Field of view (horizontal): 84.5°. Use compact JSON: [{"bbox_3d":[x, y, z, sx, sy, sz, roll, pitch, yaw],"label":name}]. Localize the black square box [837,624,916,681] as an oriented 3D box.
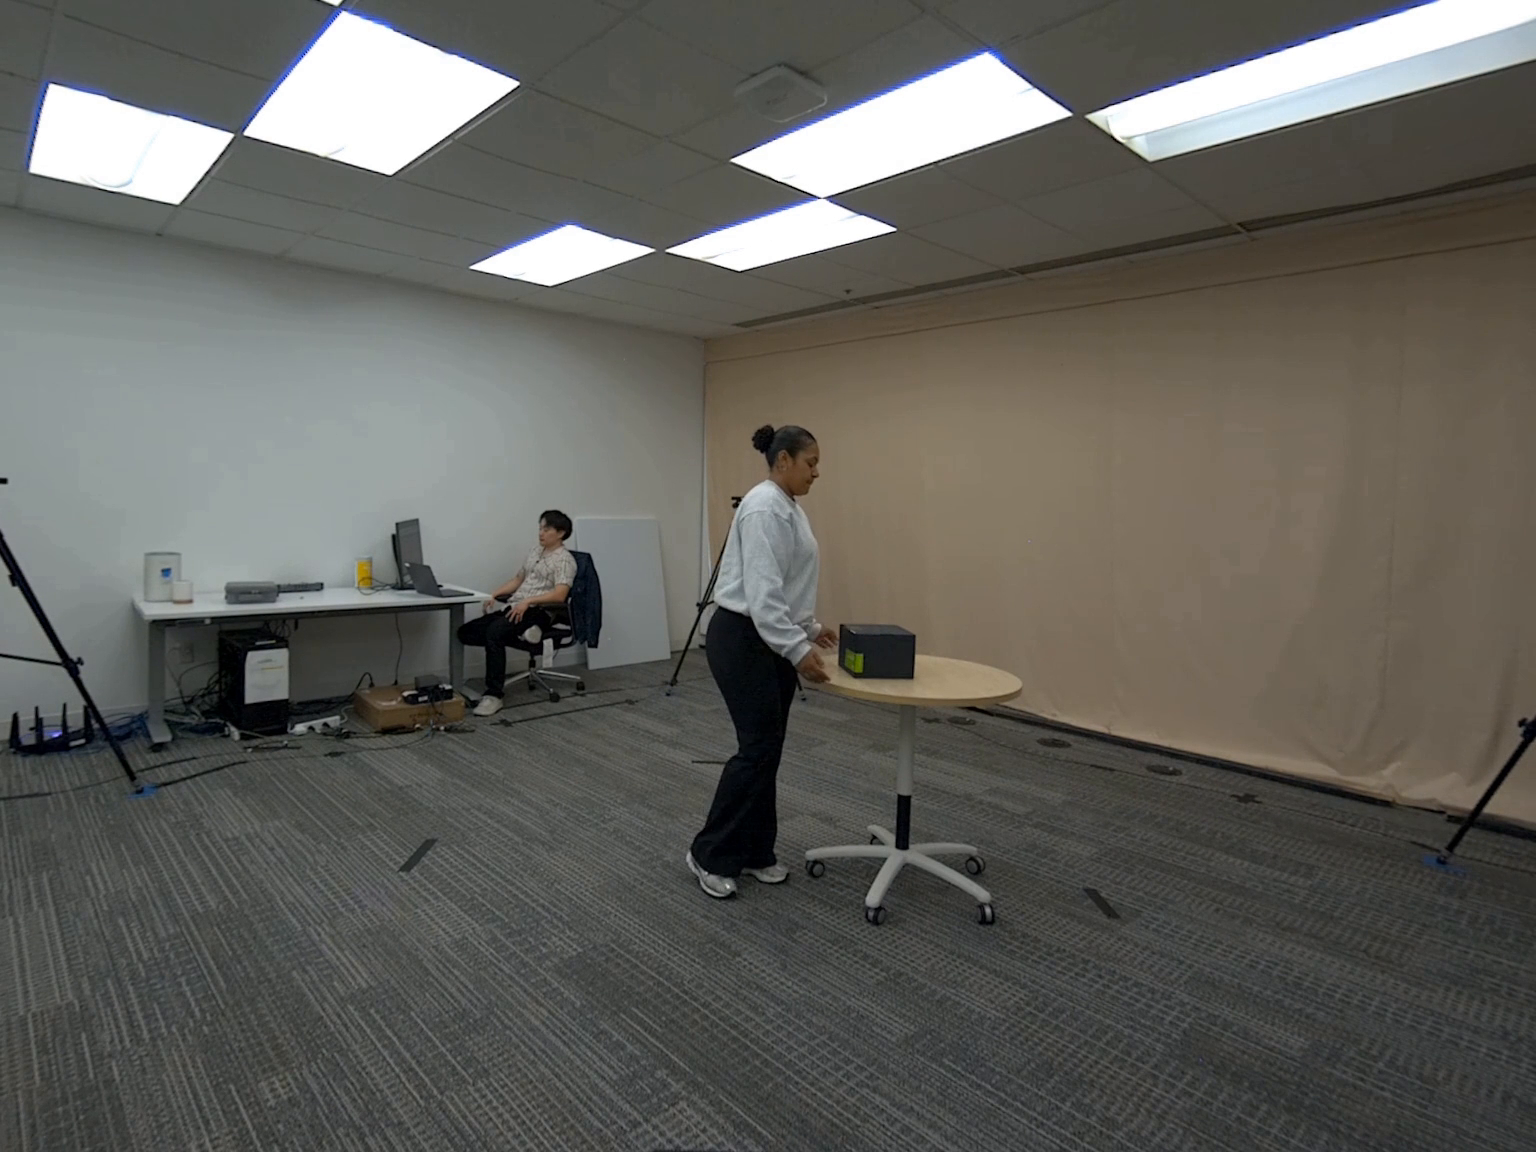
[{"bbox_3d":[0.383,0.262,3.002,0.215,0.155,0.230,1,5,-8],"label":"black square box"}]
